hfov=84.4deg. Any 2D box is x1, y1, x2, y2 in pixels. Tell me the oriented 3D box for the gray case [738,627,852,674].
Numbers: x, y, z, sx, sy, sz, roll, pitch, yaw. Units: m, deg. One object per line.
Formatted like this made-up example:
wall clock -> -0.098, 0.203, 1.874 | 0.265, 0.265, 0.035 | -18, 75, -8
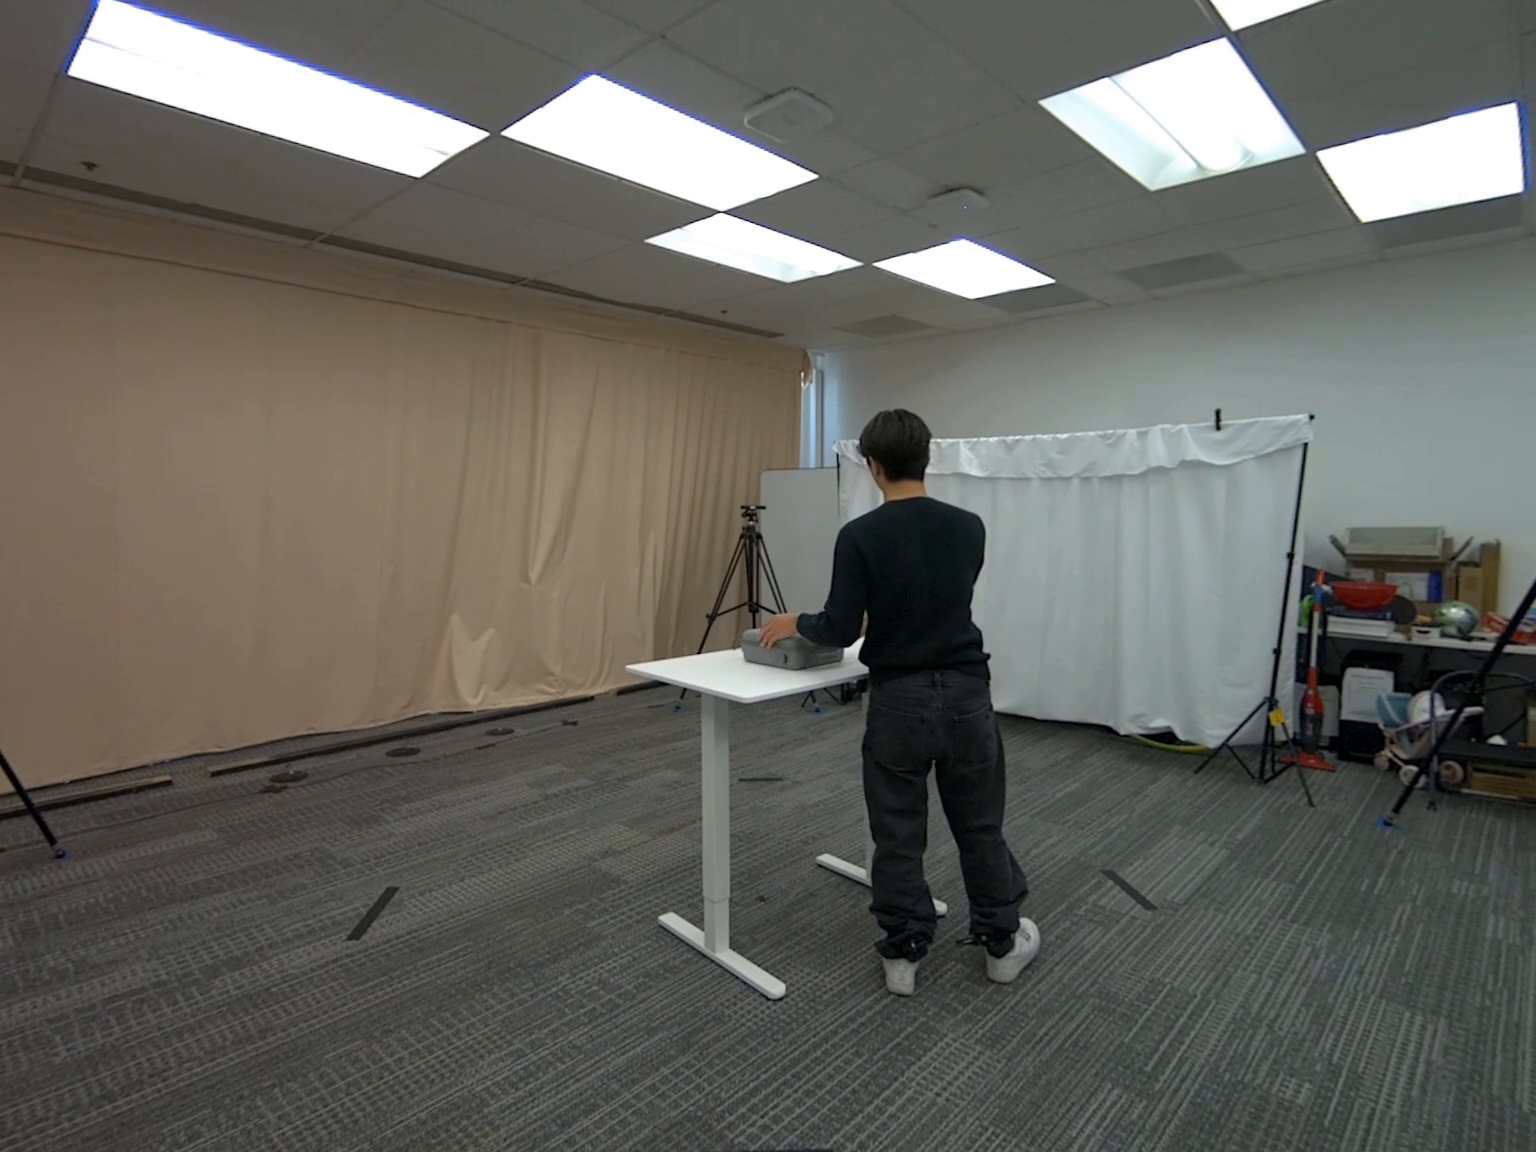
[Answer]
gray case -> 0.085, 0.228, 2.754 | 0.249, 0.104, 0.269 | -4, 6, -42
